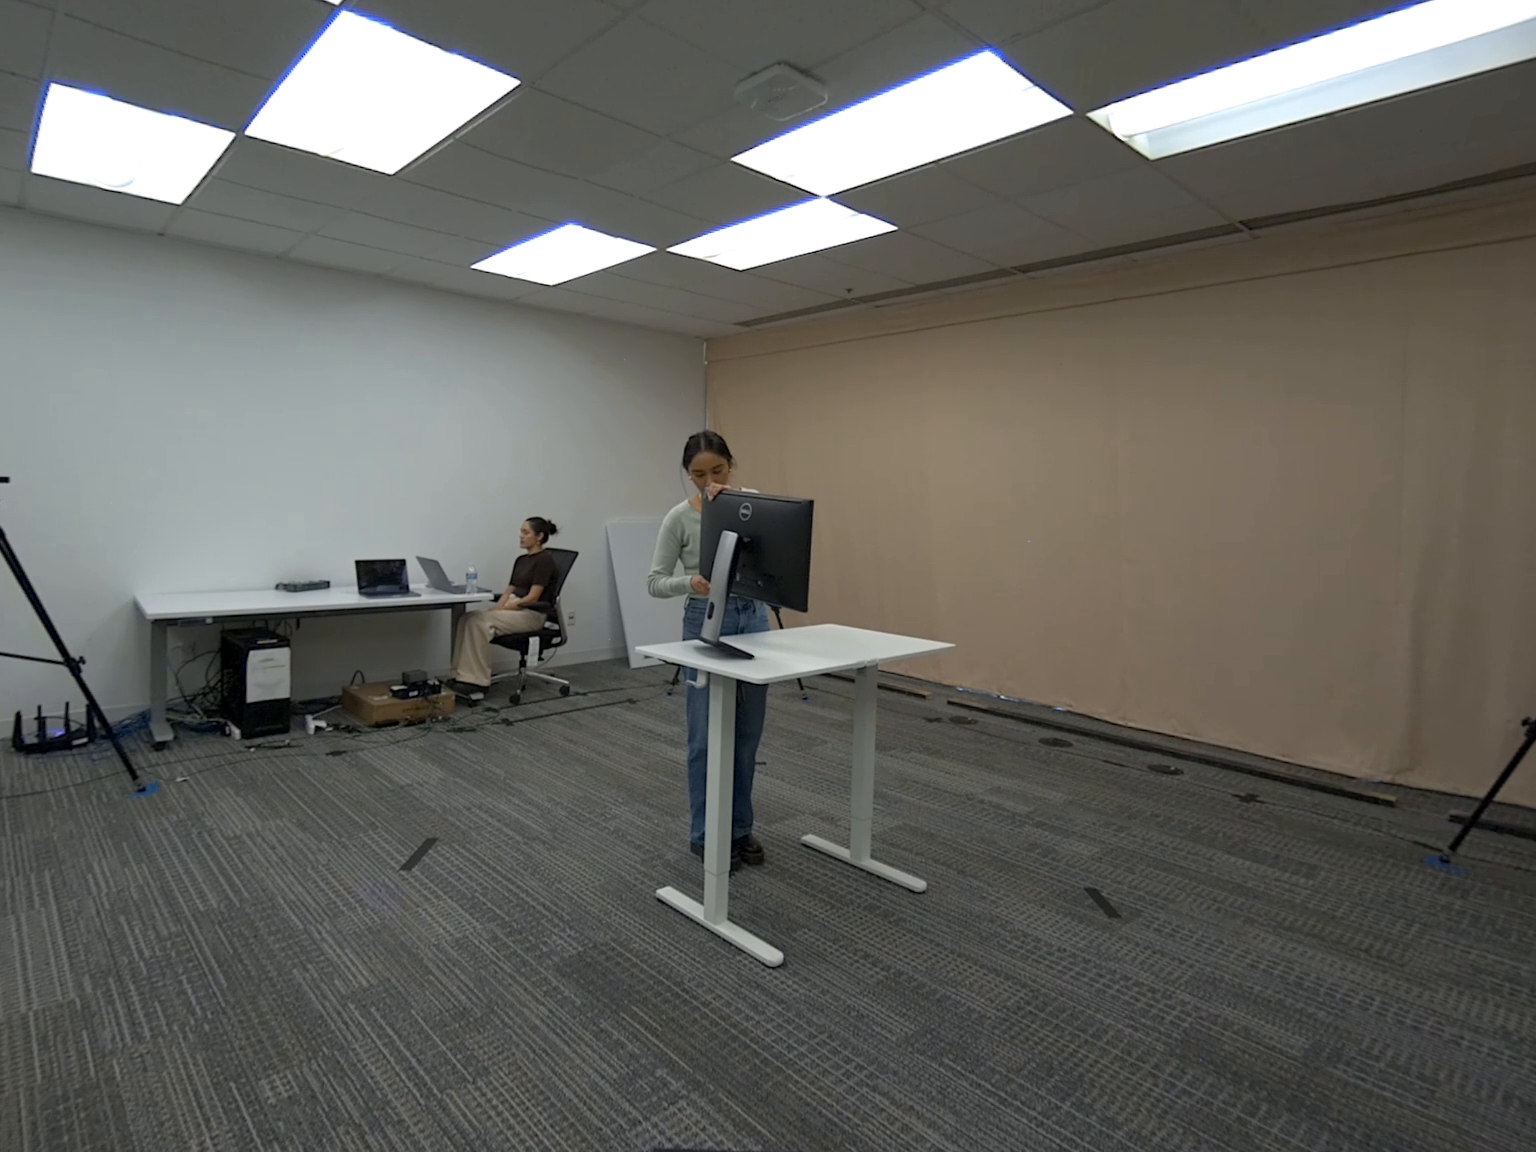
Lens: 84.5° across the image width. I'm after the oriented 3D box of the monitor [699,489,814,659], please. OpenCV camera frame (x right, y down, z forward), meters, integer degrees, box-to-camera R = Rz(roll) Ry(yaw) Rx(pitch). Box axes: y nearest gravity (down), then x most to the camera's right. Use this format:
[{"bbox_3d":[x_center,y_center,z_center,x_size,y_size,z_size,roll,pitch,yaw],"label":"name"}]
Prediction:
[{"bbox_3d":[-0.111,-0.017,2.753,0.182,0.523,0.554,16,-3,-43],"label":"monitor"}]
